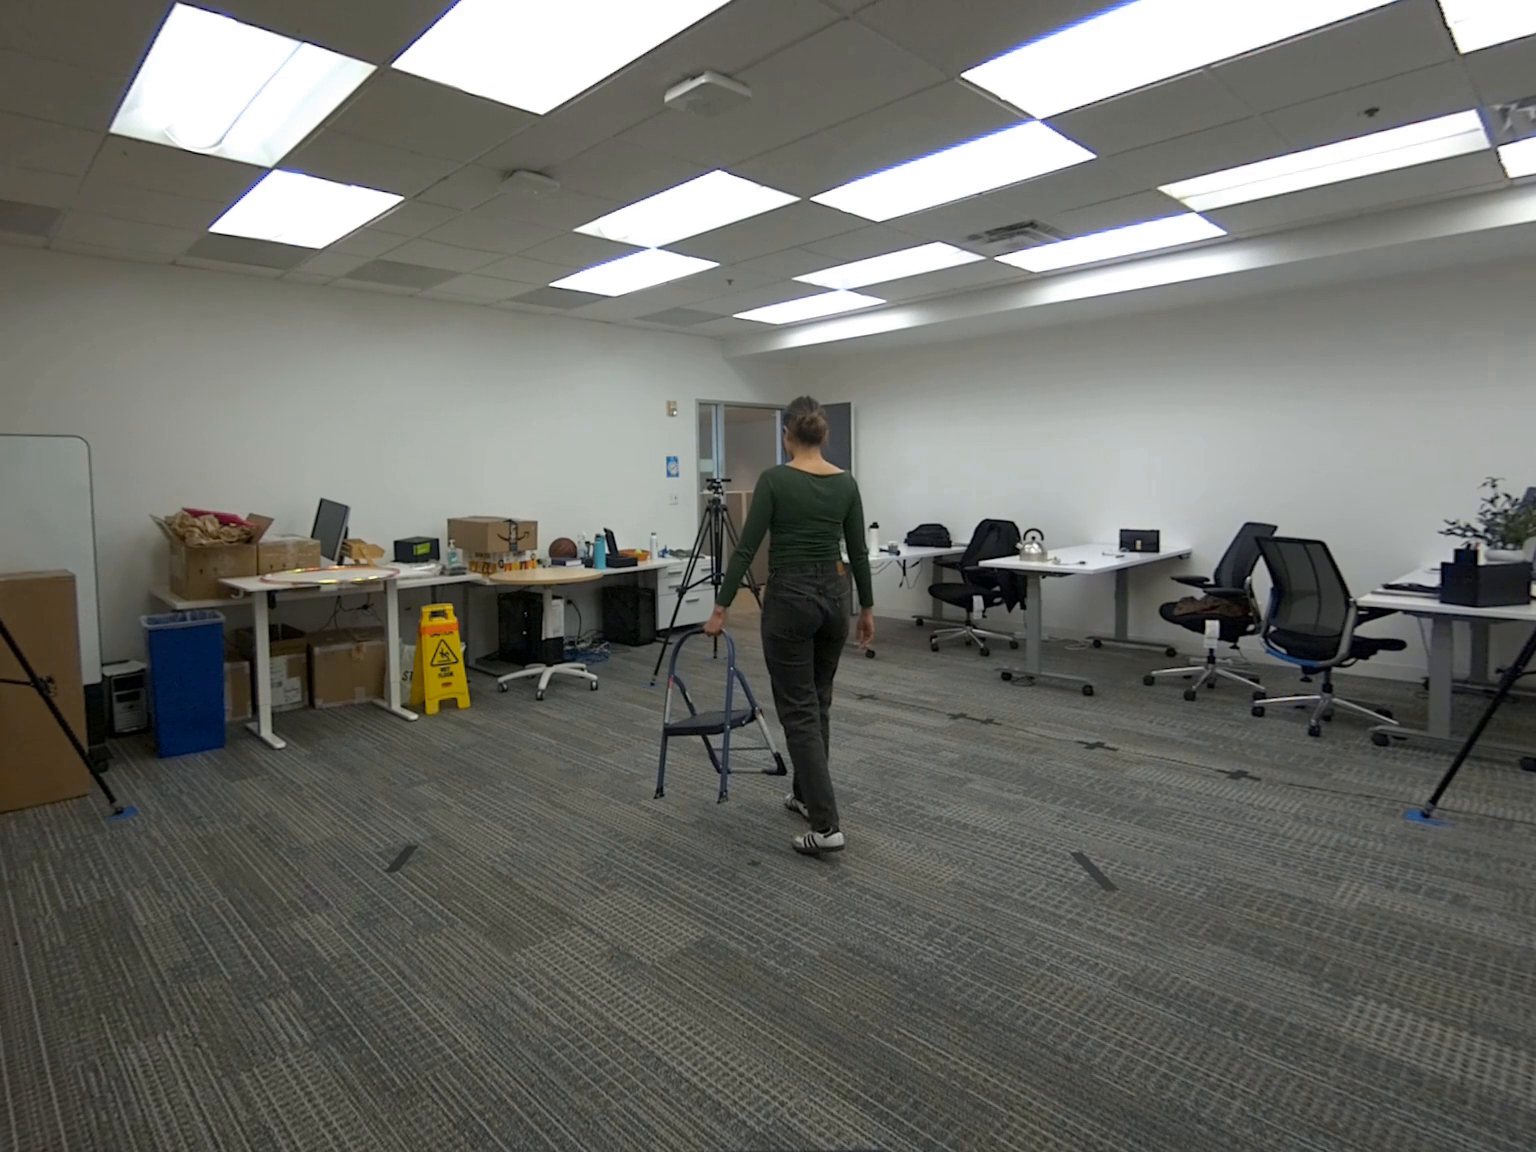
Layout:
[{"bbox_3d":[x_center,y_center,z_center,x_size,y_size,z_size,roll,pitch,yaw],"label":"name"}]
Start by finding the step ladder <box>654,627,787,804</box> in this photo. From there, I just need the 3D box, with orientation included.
[{"bbox_3d":[-0.243,0.515,3.302,0.341,0.609,0.439,-9,-4,-43],"label":"step ladder"}]
